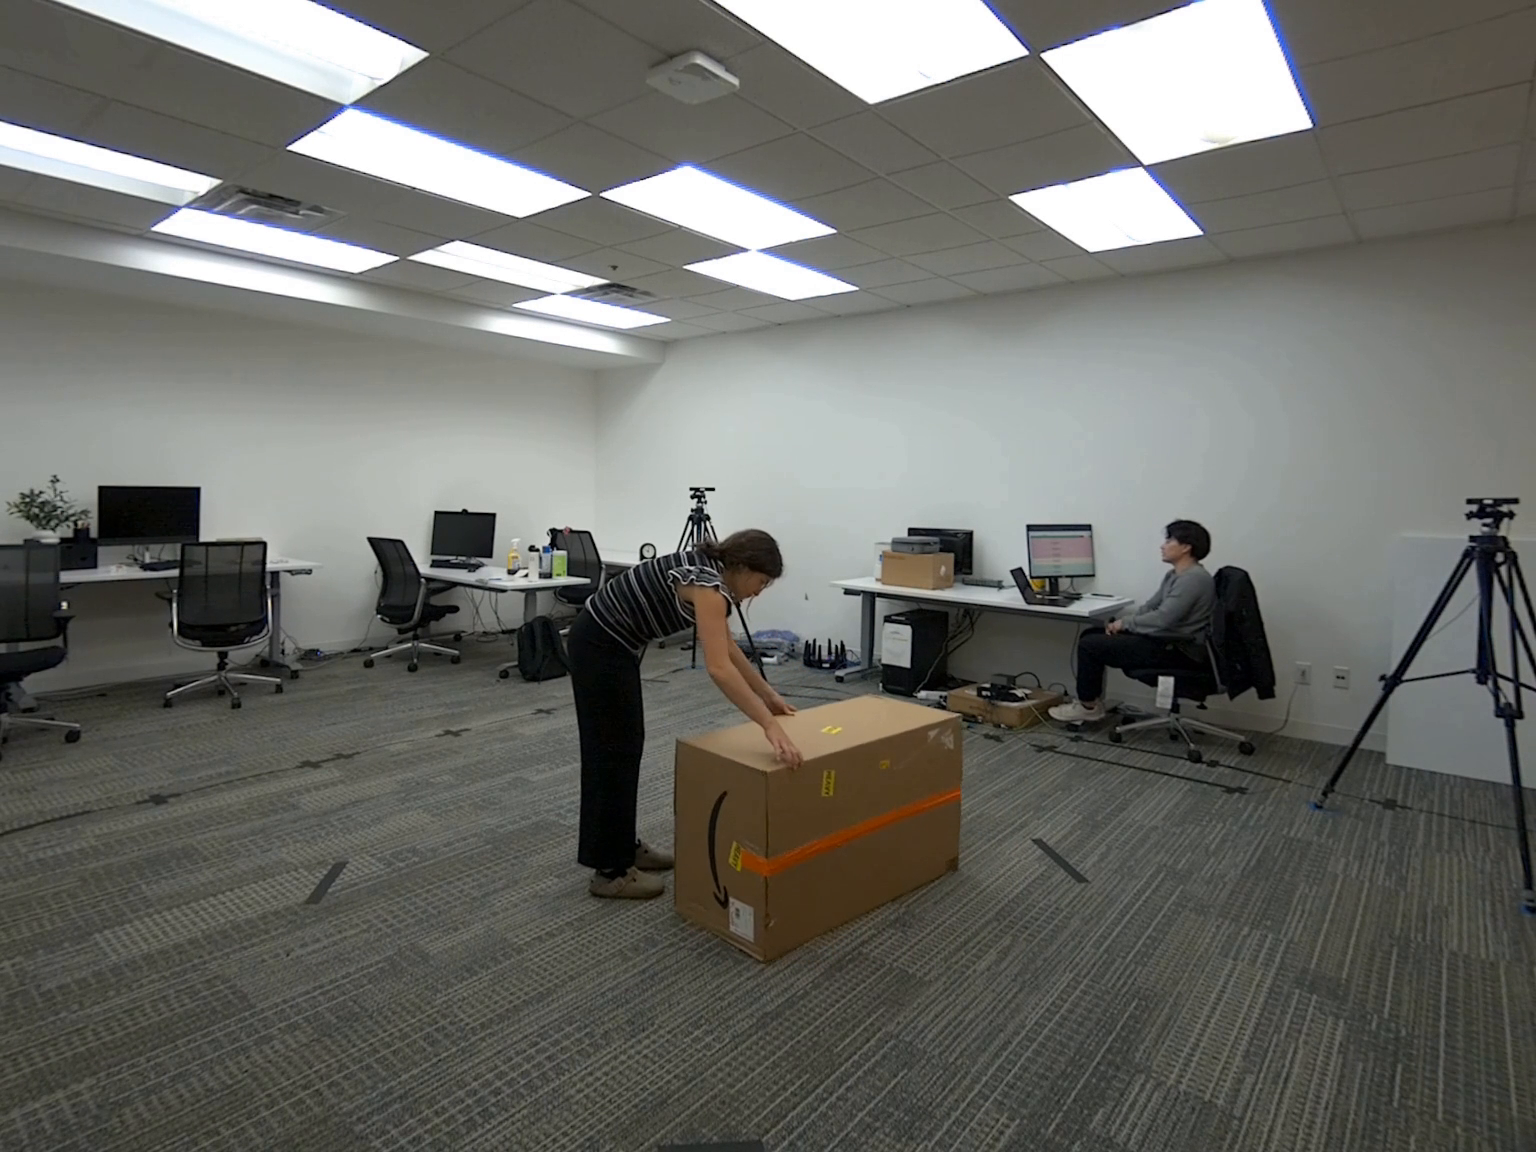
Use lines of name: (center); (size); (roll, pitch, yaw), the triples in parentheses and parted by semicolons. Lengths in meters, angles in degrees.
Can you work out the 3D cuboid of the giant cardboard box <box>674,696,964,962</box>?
giant cardboard box: (0.199, 0.800, 2.962); (0.995, 0.575, 0.441); (-4, 7, -43)
